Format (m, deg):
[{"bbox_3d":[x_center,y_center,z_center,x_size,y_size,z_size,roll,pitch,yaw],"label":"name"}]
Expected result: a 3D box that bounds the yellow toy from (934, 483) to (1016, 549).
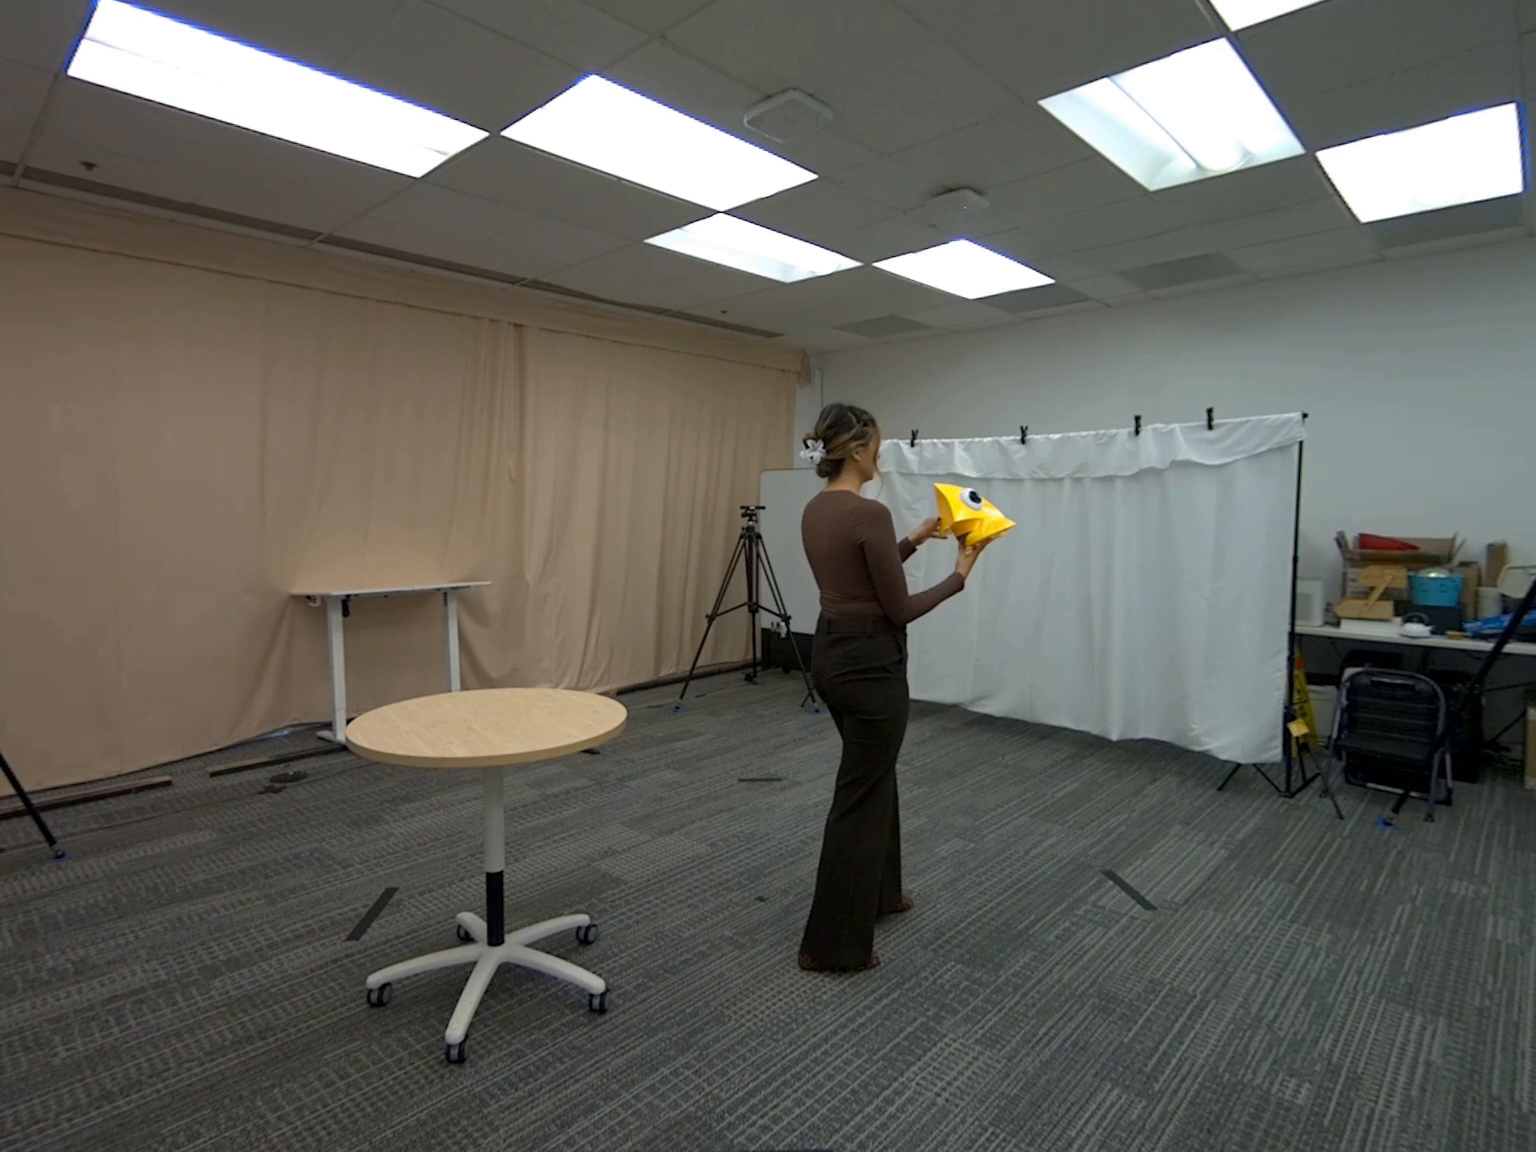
[{"bbox_3d":[0.639,-0.211,2.641,0.192,0.233,0.203,-23,-11,-6],"label":"yellow toy"}]
